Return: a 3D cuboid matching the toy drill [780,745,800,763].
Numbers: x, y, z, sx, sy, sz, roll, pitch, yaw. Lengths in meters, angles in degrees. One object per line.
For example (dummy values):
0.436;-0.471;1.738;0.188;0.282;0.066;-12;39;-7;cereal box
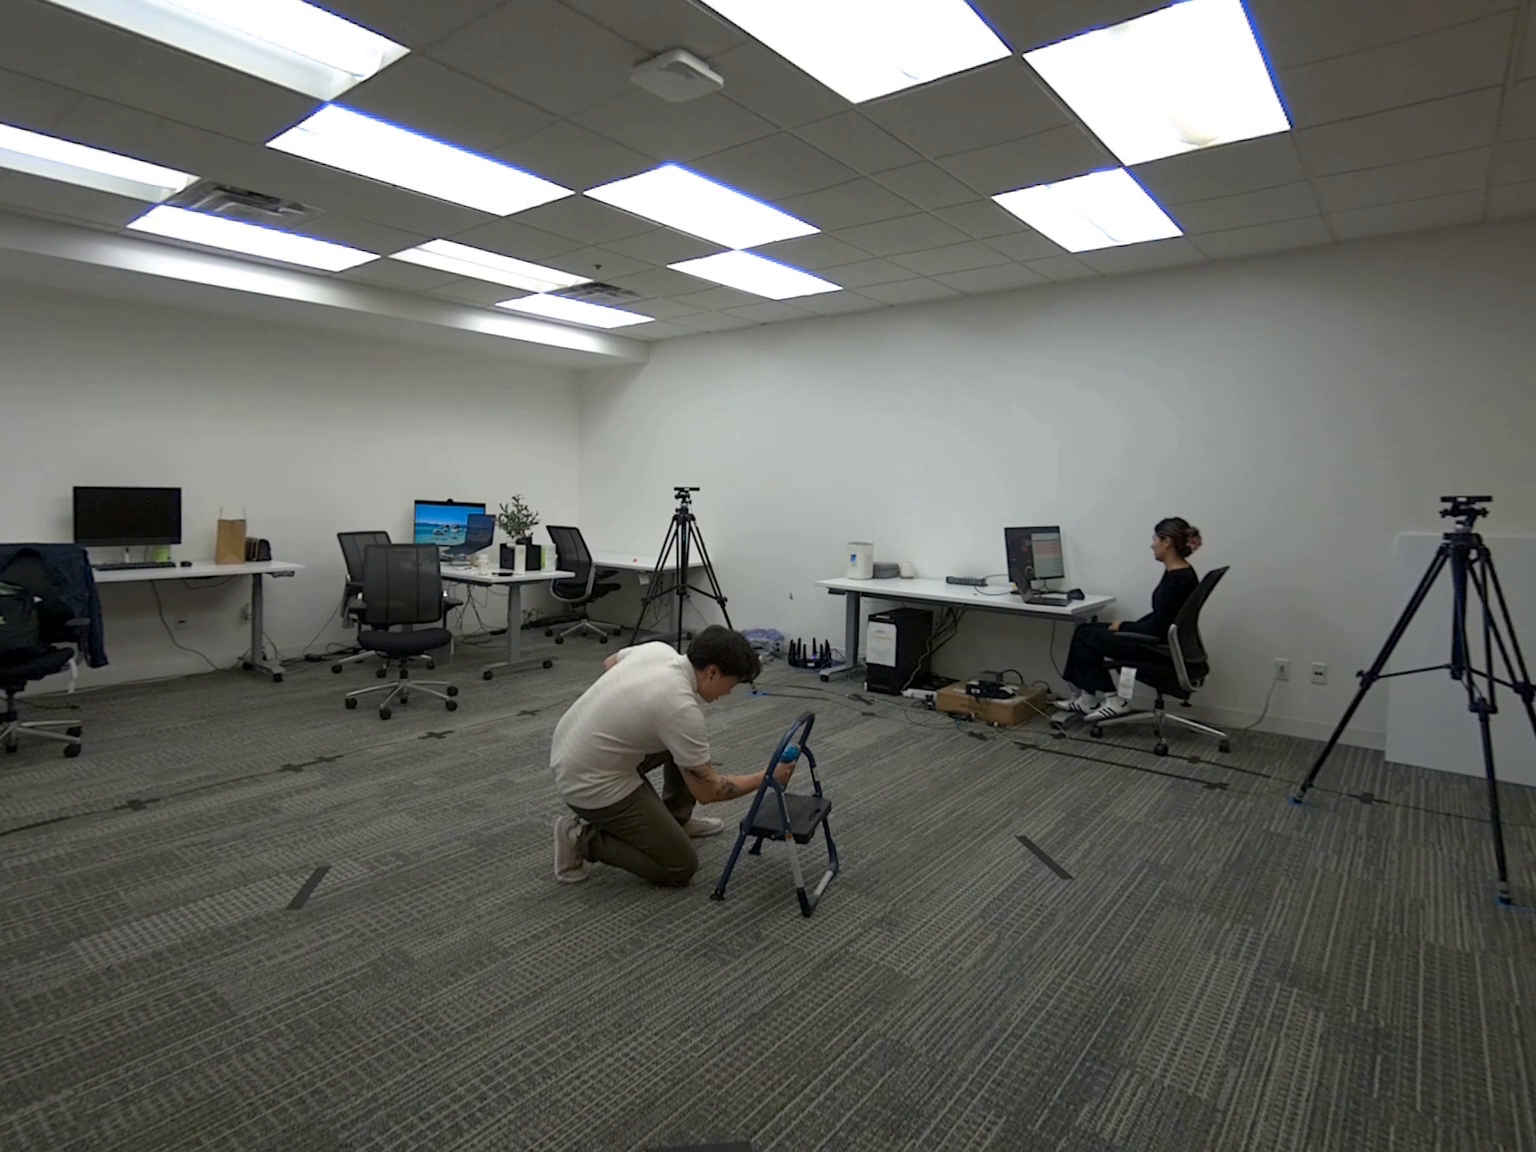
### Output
0.052;0.675;3.078;0.062;0.145;0.167;32;12;13;toy drill
